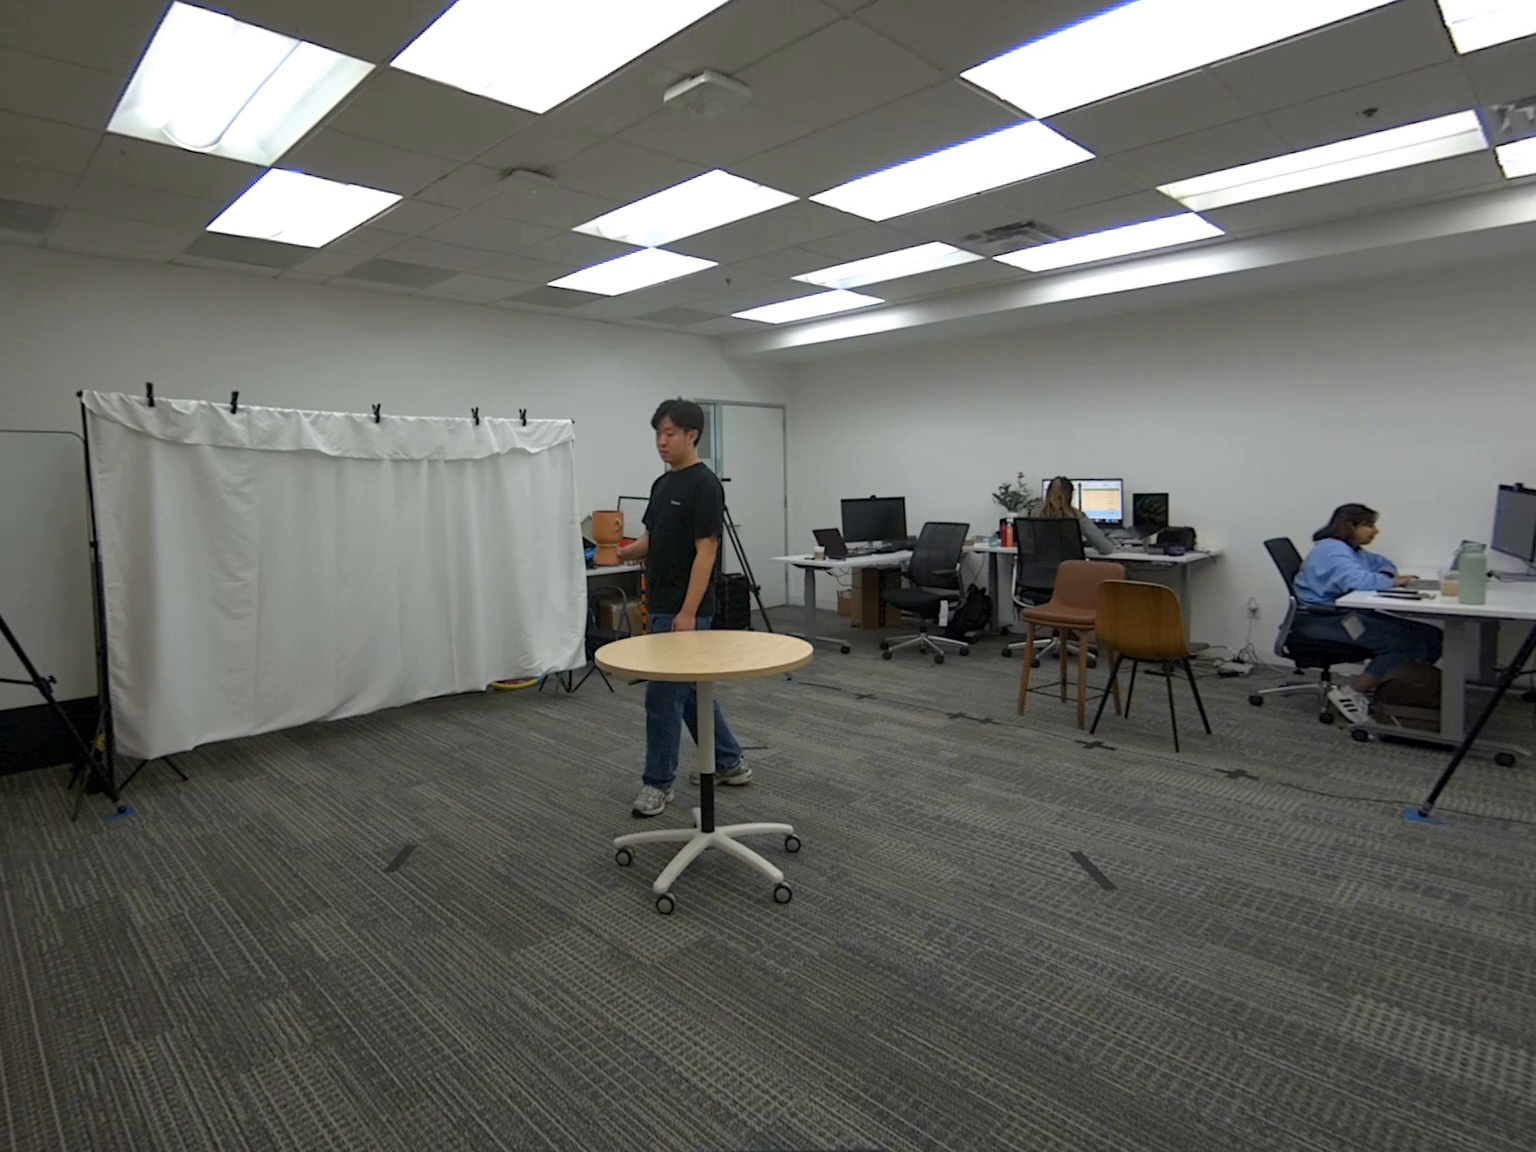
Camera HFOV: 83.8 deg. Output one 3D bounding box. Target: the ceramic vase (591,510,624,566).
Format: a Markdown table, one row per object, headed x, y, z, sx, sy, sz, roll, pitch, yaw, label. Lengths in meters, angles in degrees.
| x | y | z | sx | sy | sz | roll | pitch | yaw | label |
| --- | --- | --- | --- | --- | --- | --- | --- | --- | --- |
| -0.670 | -0.165 | 3.618 | 0.134 | 0.218 | 0.160 | 2 | 8 | -2 | ceramic vase |
